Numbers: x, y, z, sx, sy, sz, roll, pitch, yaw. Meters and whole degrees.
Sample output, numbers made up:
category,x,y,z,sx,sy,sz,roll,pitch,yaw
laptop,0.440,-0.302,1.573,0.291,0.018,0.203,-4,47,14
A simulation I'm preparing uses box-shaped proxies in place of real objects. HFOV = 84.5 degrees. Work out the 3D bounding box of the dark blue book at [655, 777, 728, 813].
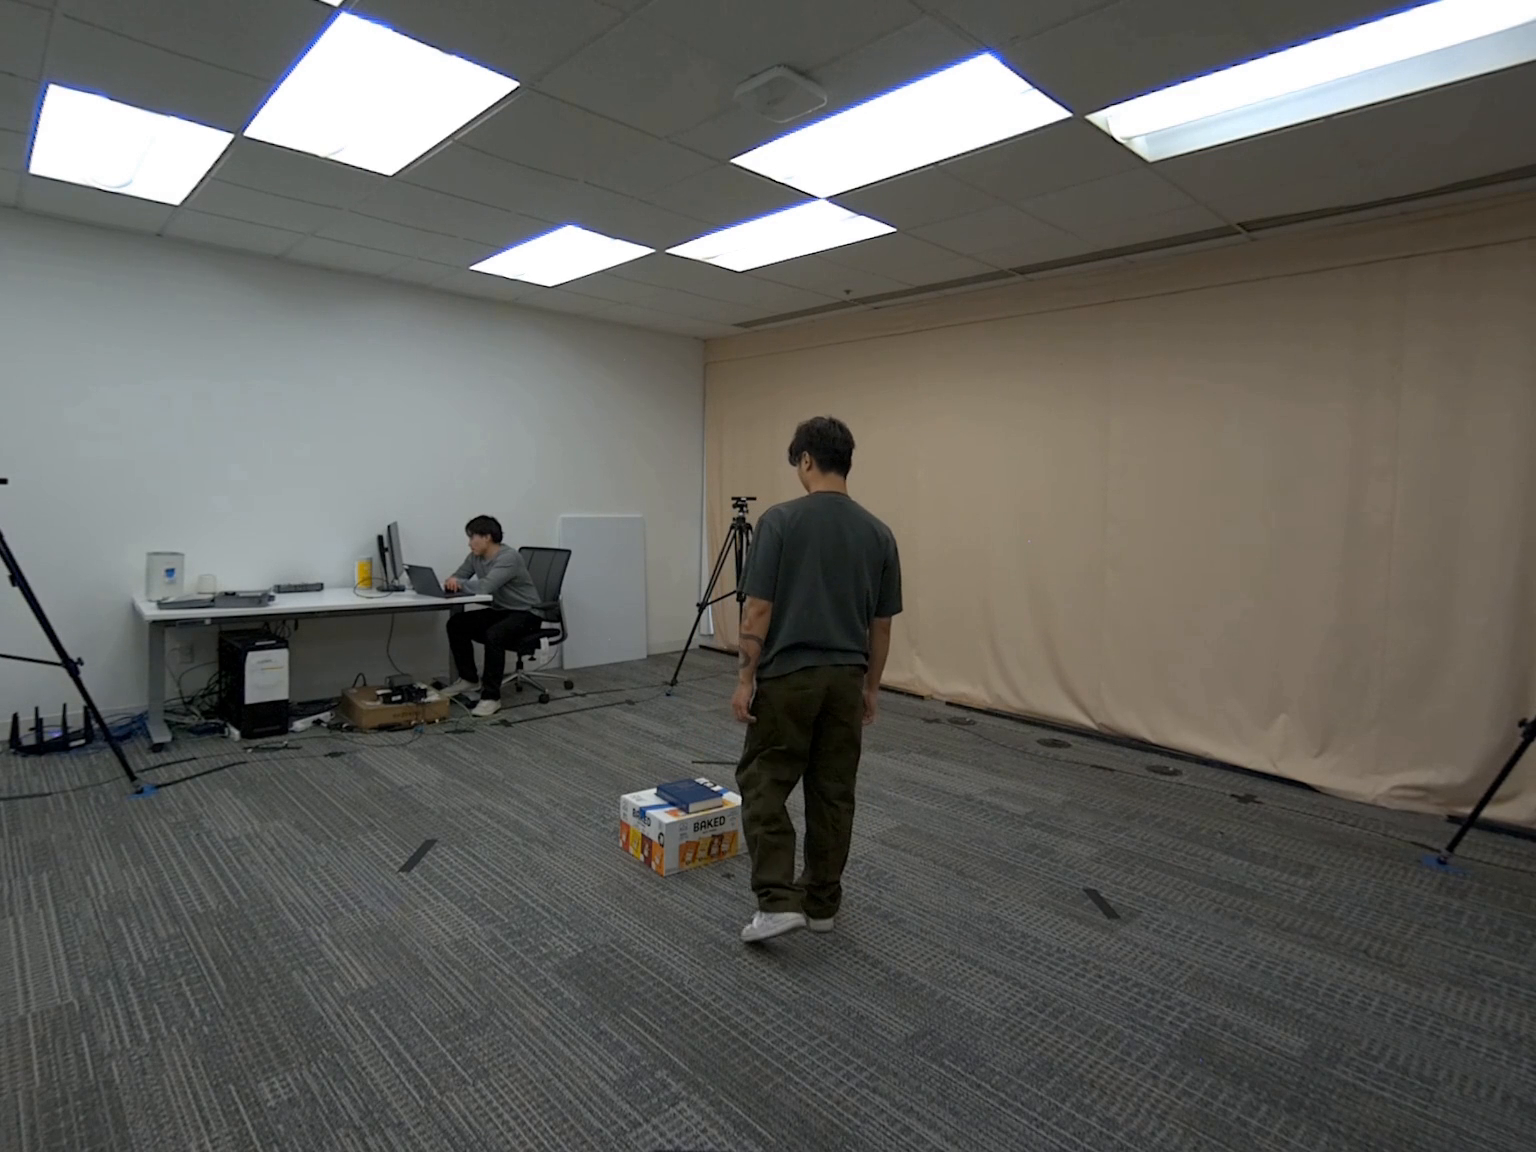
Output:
category,x,y,z,sx,sy,sz,roll,pitch,yaw
dark blue book,-0.326,0.869,3.322,0.160,0.045,0.251,-2,6,-36
